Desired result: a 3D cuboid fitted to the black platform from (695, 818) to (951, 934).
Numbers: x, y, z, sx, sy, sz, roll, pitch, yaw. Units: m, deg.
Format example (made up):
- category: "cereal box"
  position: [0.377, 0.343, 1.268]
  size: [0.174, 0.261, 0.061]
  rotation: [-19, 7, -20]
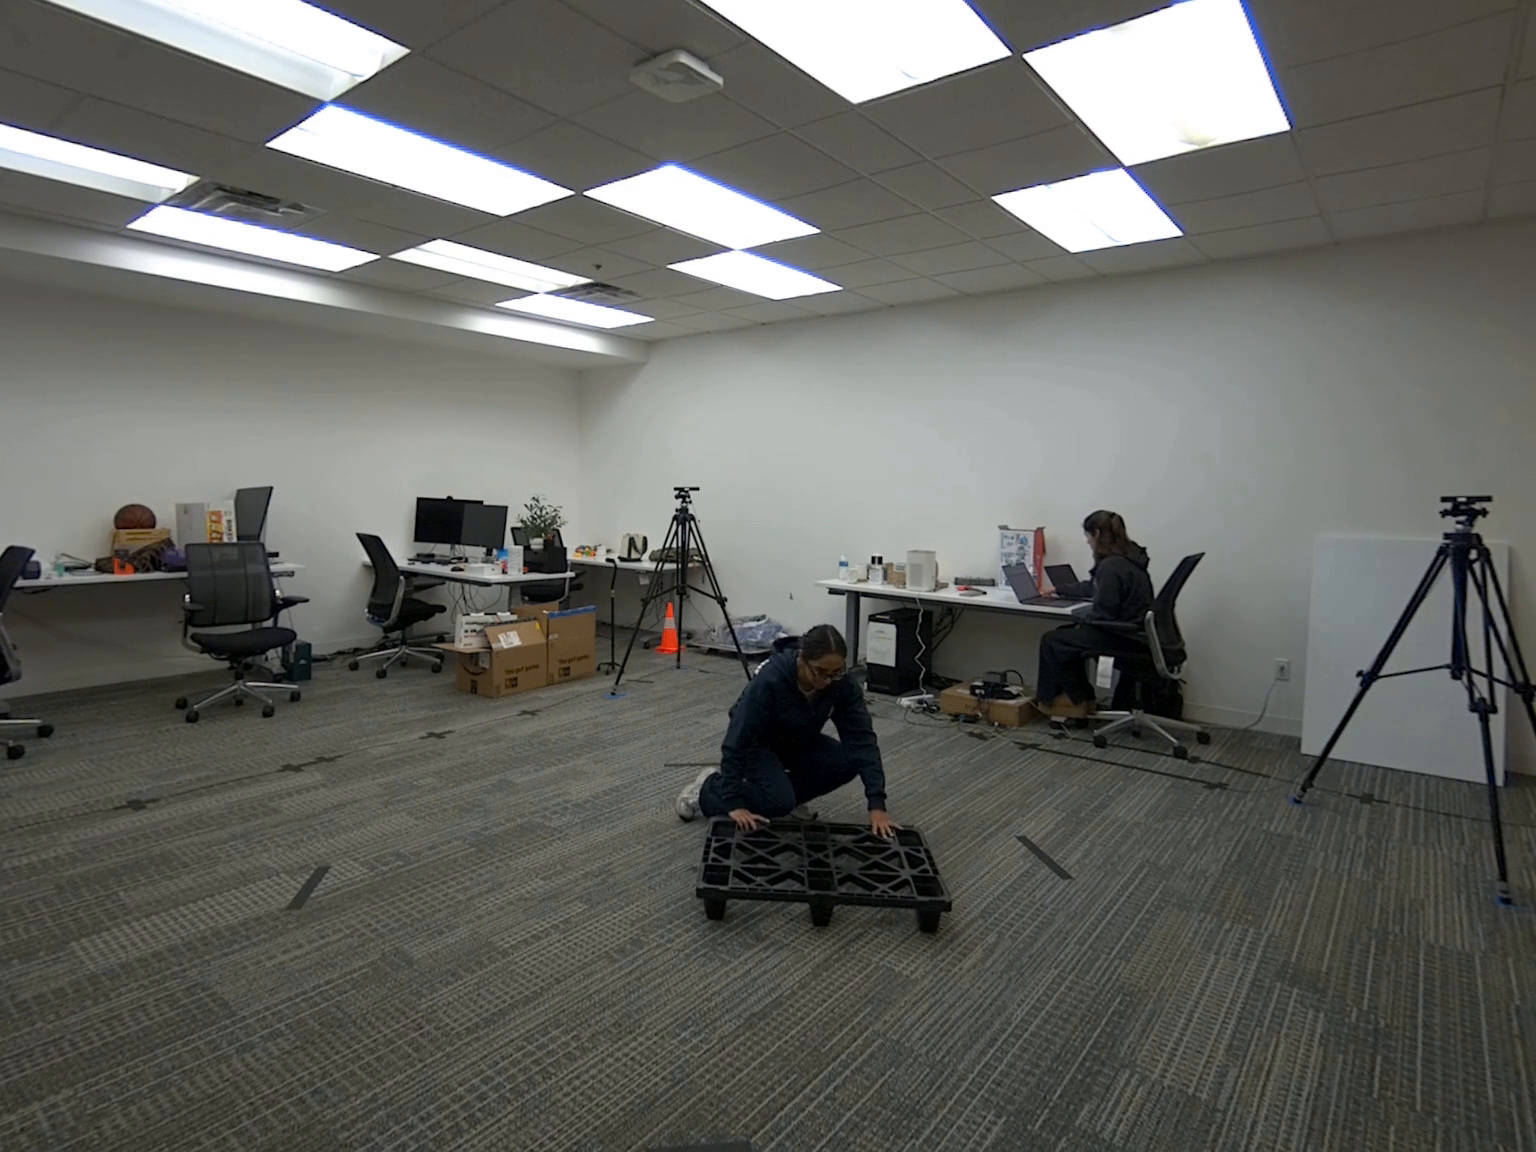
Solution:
- category: "black platform"
  position: [0.157, 1.022, 2.945]
  size: [0.809, 0.143, 0.605]
  rotation: [2, 5, 3]
